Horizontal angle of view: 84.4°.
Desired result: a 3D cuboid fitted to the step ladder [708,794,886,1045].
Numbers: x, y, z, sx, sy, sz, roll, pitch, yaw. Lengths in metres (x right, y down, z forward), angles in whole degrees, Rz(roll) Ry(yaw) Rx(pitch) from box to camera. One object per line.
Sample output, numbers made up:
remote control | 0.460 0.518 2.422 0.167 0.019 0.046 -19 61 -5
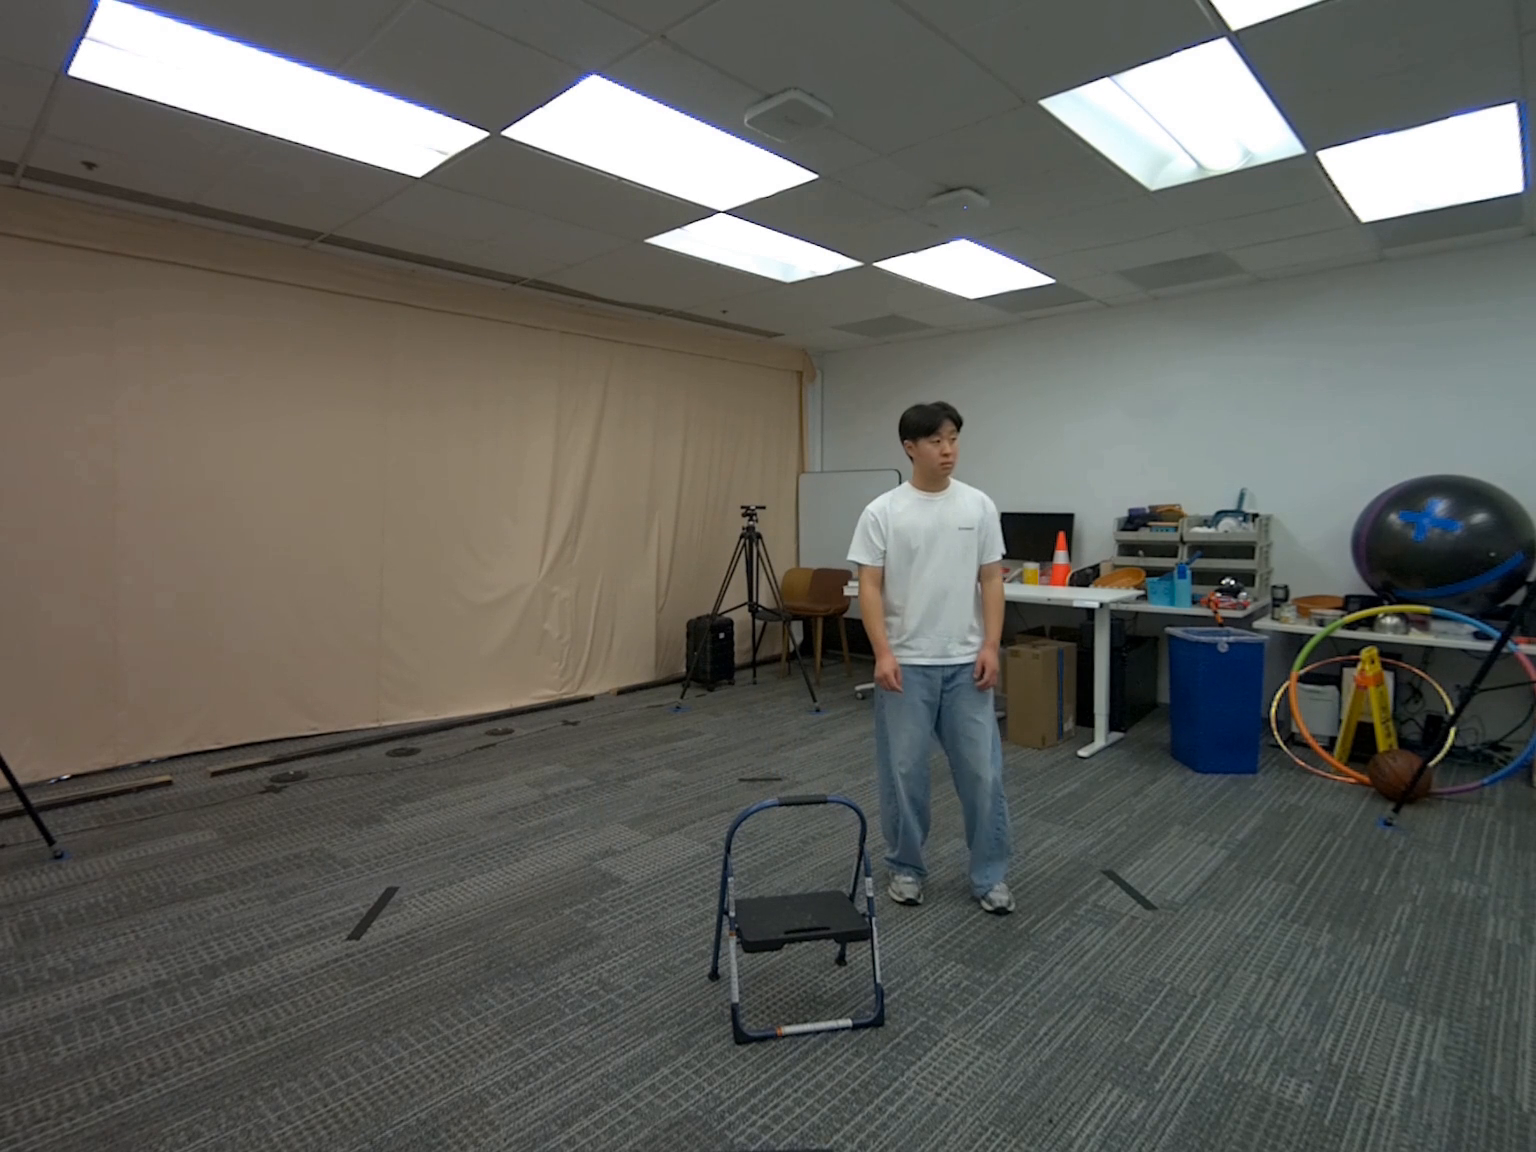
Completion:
step ladder | 0.072 0.896 2.360 0.425 0.605 0.355 -1 3 -13
